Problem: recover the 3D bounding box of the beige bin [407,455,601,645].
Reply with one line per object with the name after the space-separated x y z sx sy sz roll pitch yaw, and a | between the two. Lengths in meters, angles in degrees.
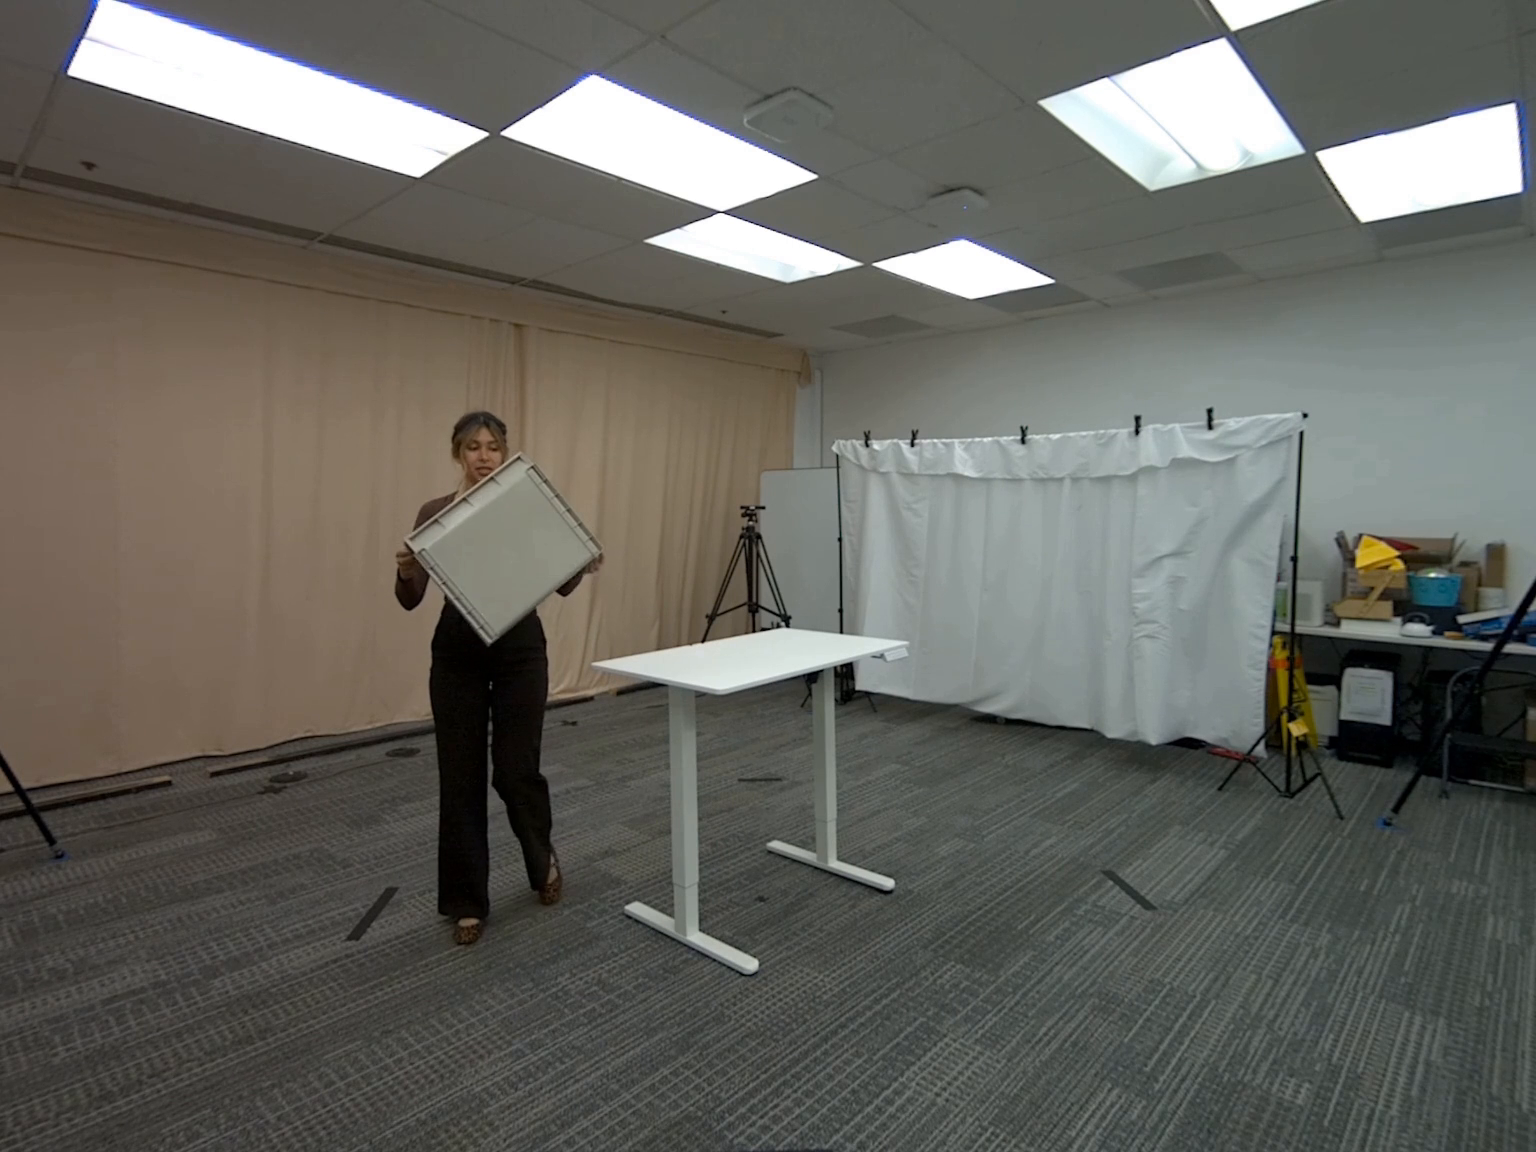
-0.751 -0.080 2.421 0.419 0.373 0.192 -41 10 -16 | beige bin
